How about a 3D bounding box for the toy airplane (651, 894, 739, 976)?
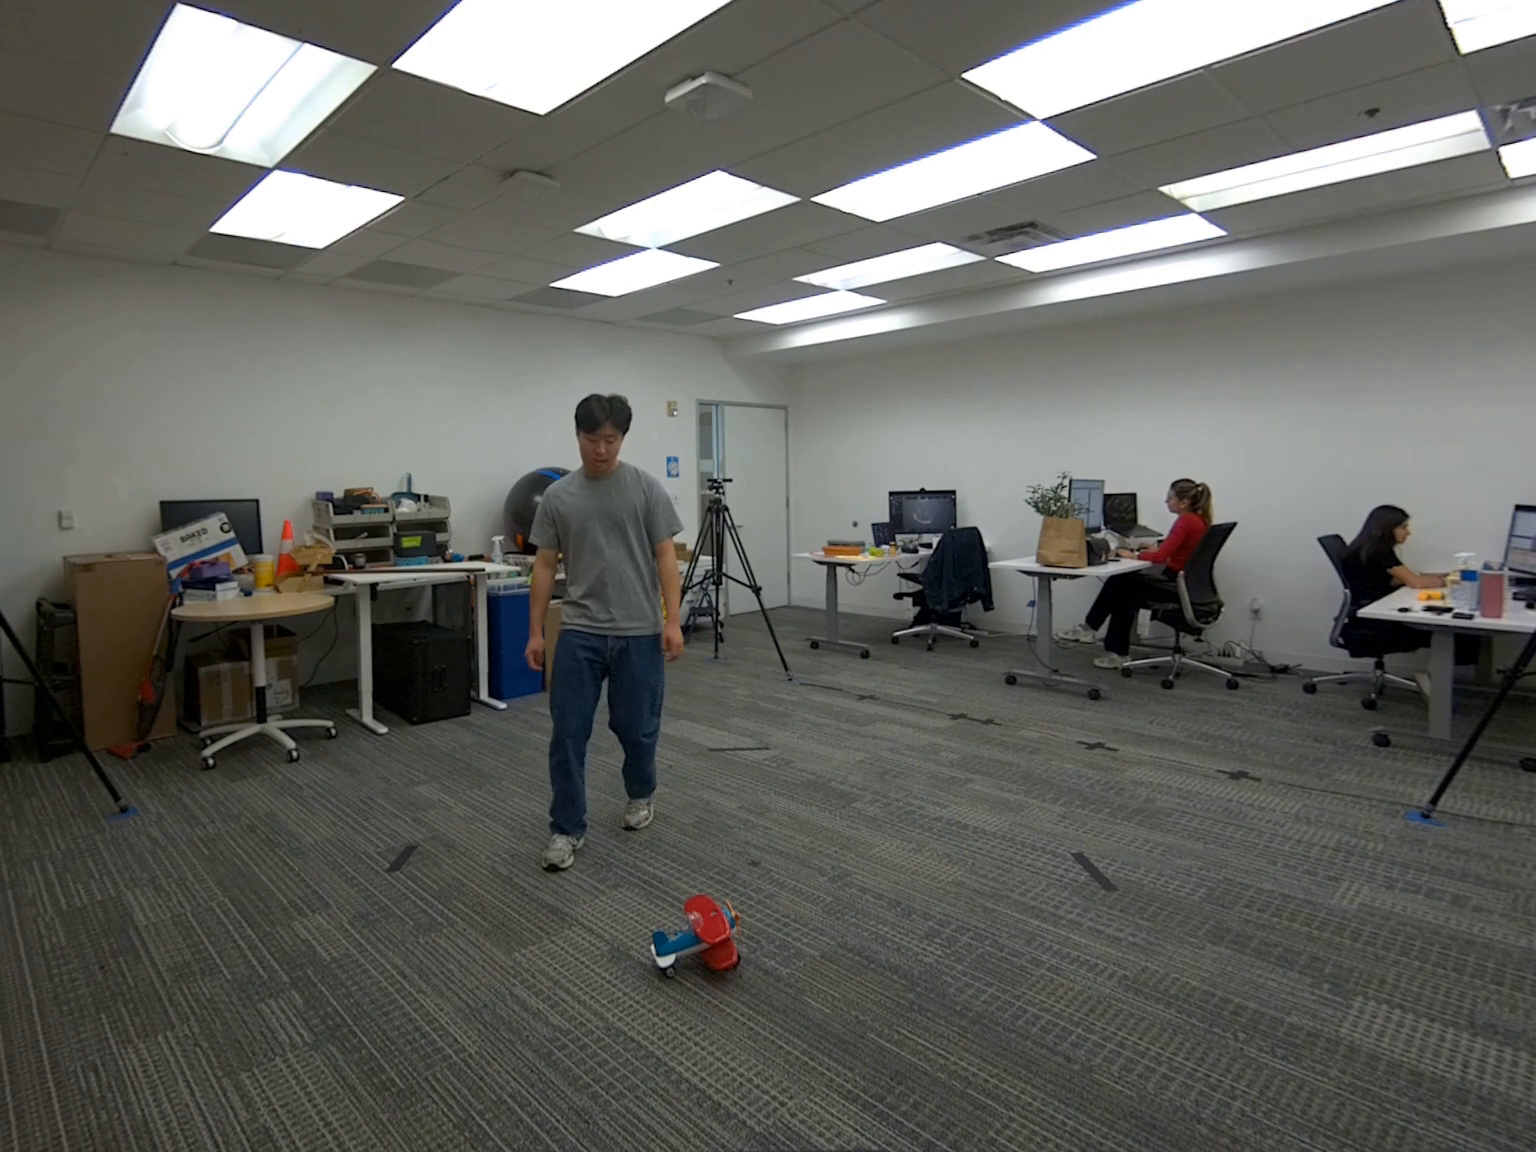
[{"bbox_3d":[-0.190,1.056,2.438,0.259,0.156,0.252,4,7,42],"label":"toy airplane"}]
